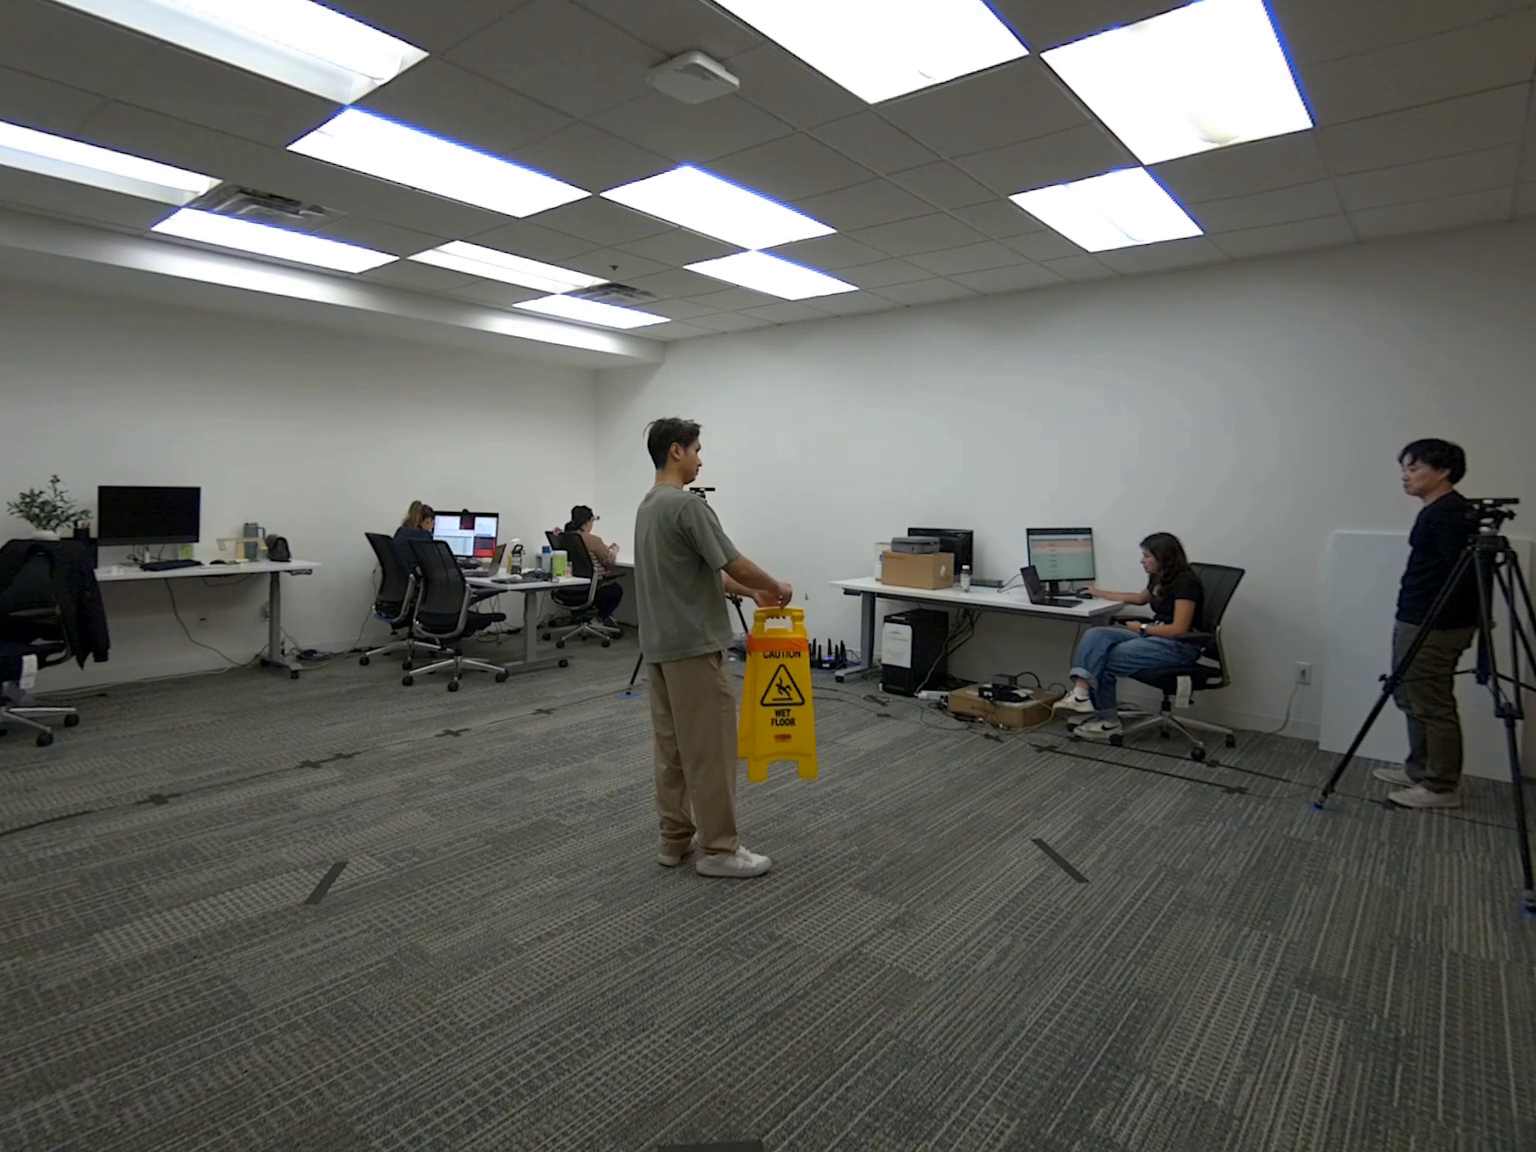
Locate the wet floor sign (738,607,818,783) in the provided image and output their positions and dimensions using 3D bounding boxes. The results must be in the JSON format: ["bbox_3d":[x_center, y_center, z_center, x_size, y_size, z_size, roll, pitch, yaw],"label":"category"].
[{"bbox_3d":[0.026,0.445,3.360,0.279,0.641,0.295,-1,8,-10],"label":"wet floor sign"}]
